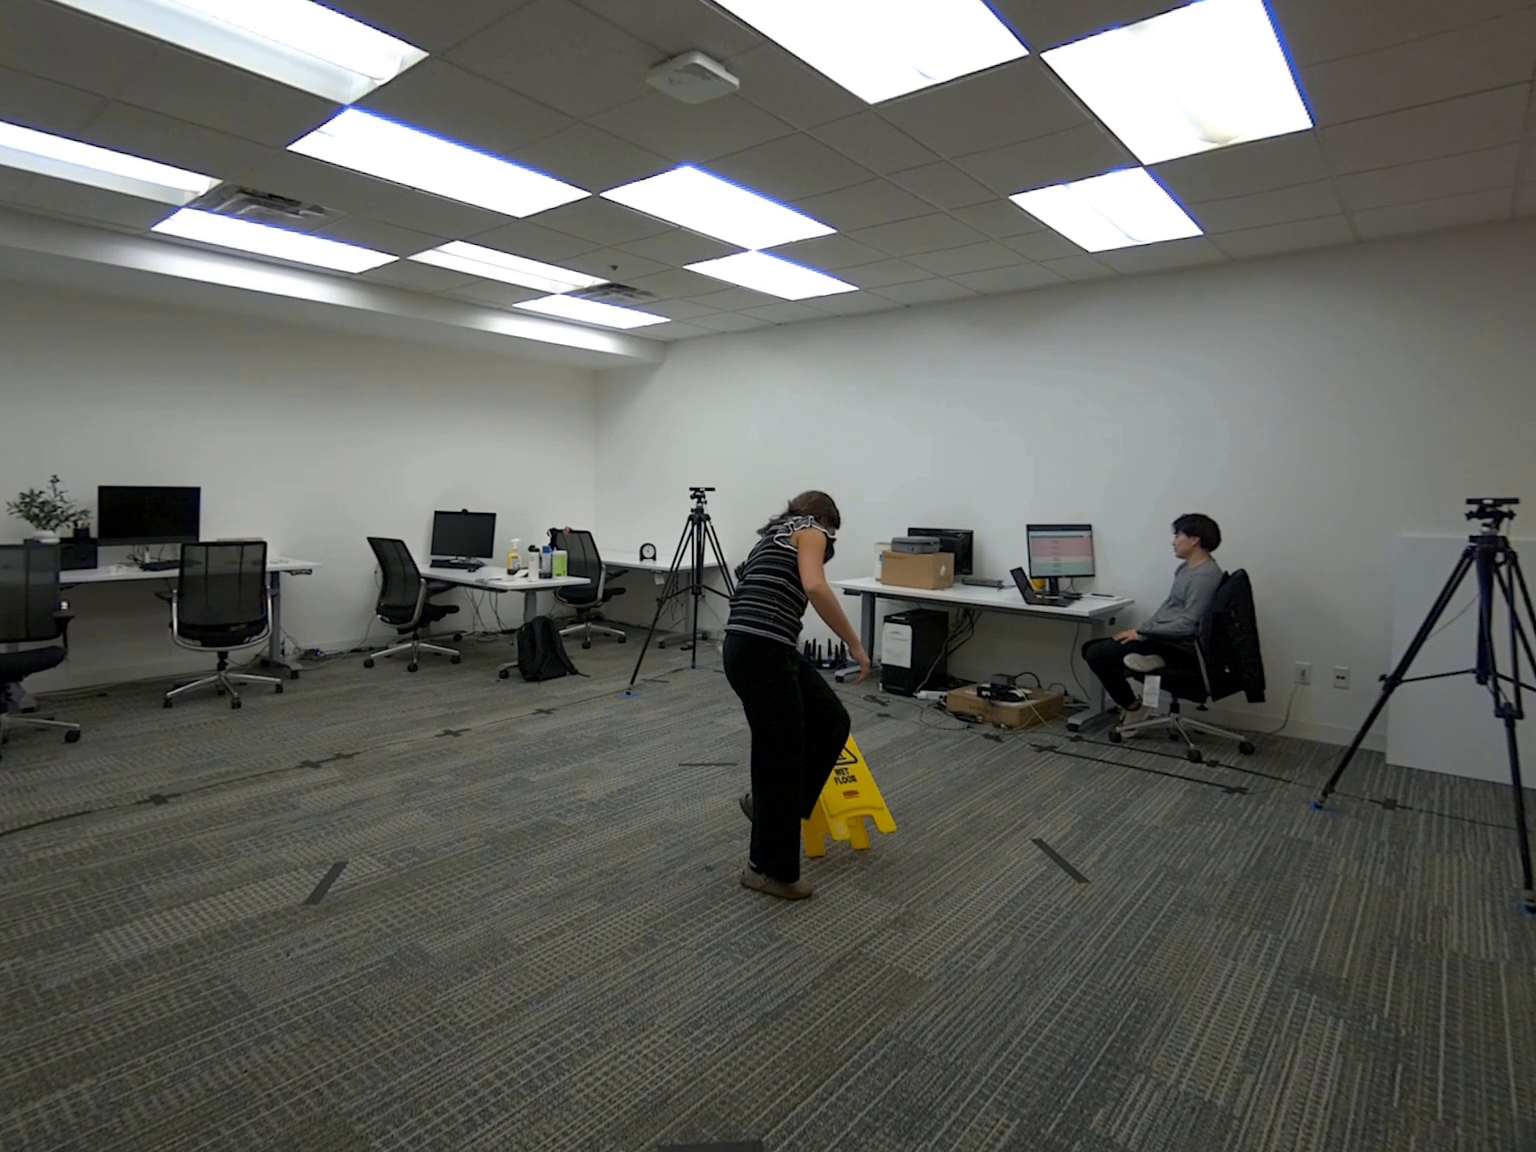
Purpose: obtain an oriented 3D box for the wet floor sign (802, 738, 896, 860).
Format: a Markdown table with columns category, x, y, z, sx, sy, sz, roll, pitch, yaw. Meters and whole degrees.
| category | x | y | z | sx | sy | sz | roll | pitch | yaw |
| --- | --- | --- | --- | --- | --- | --- | --- | --- | --- |
| wet floor sign | 0.238 | 0.733 | 3.363 | 0.275 | 0.666 | 0.288 | 0 | -33 | -25 |
